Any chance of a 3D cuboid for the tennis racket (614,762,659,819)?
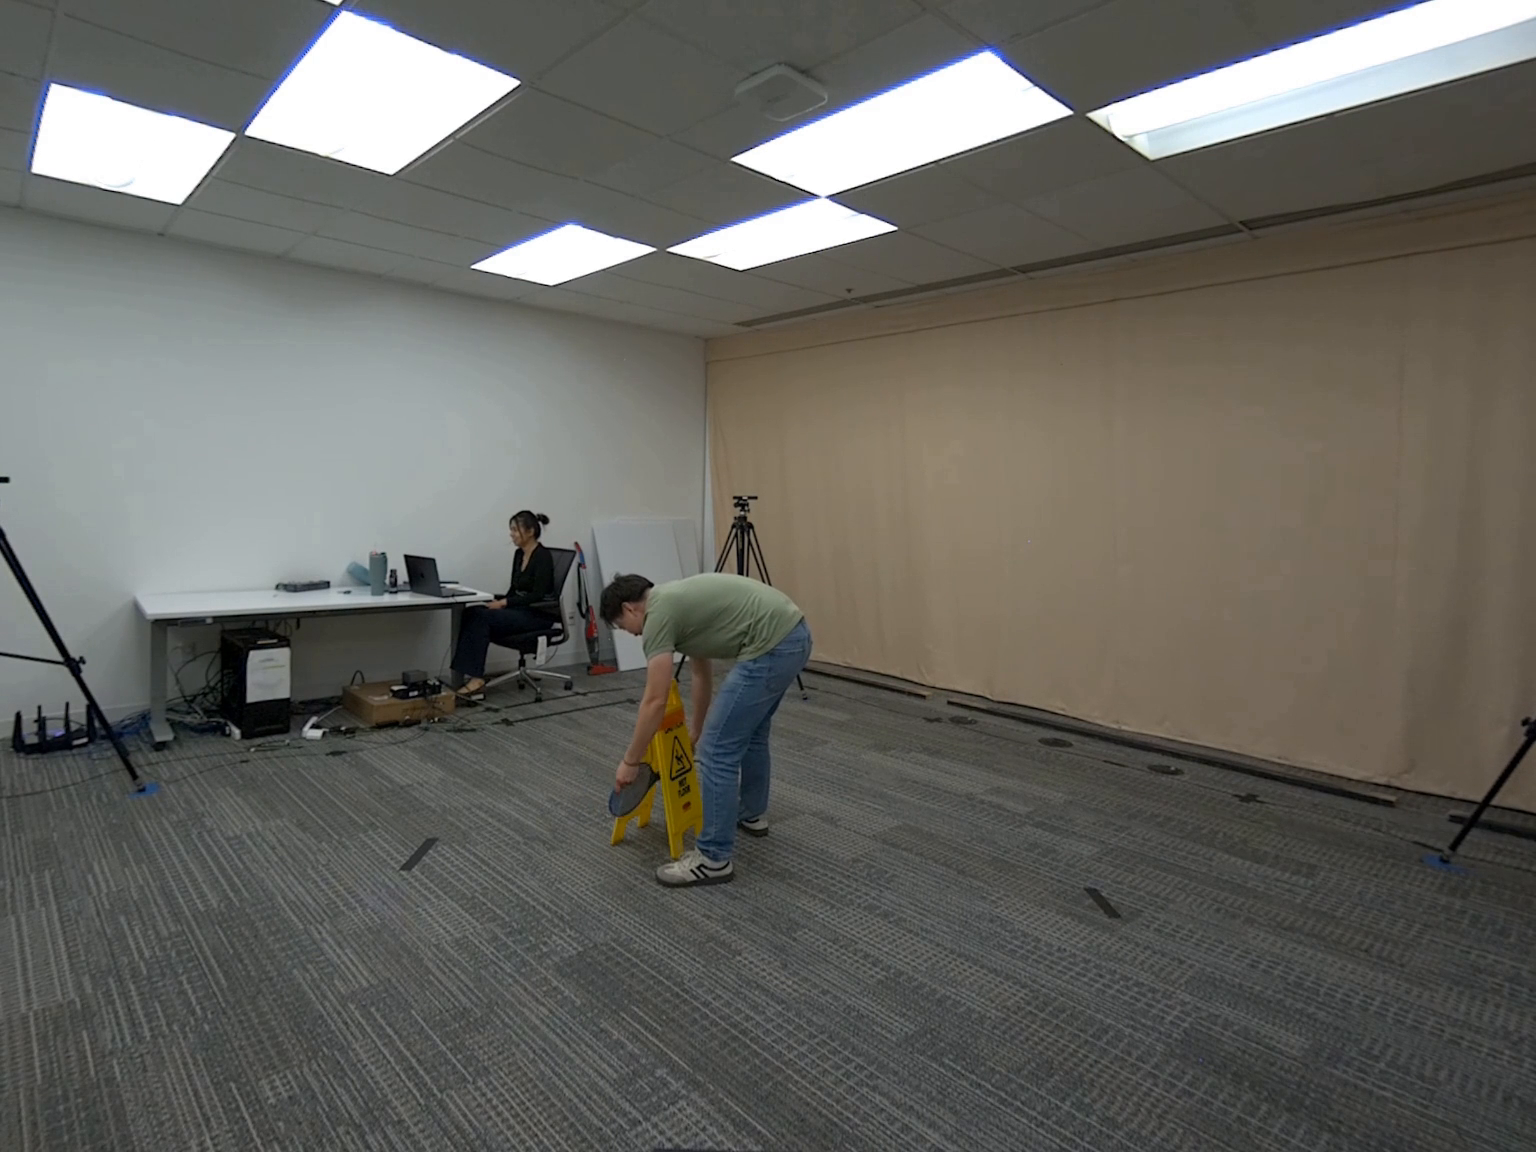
[{"bbox_3d":[-0.462,0.822,3.281,0.032,0.212,0.431,5,10,12],"label":"tennis racket"}]
